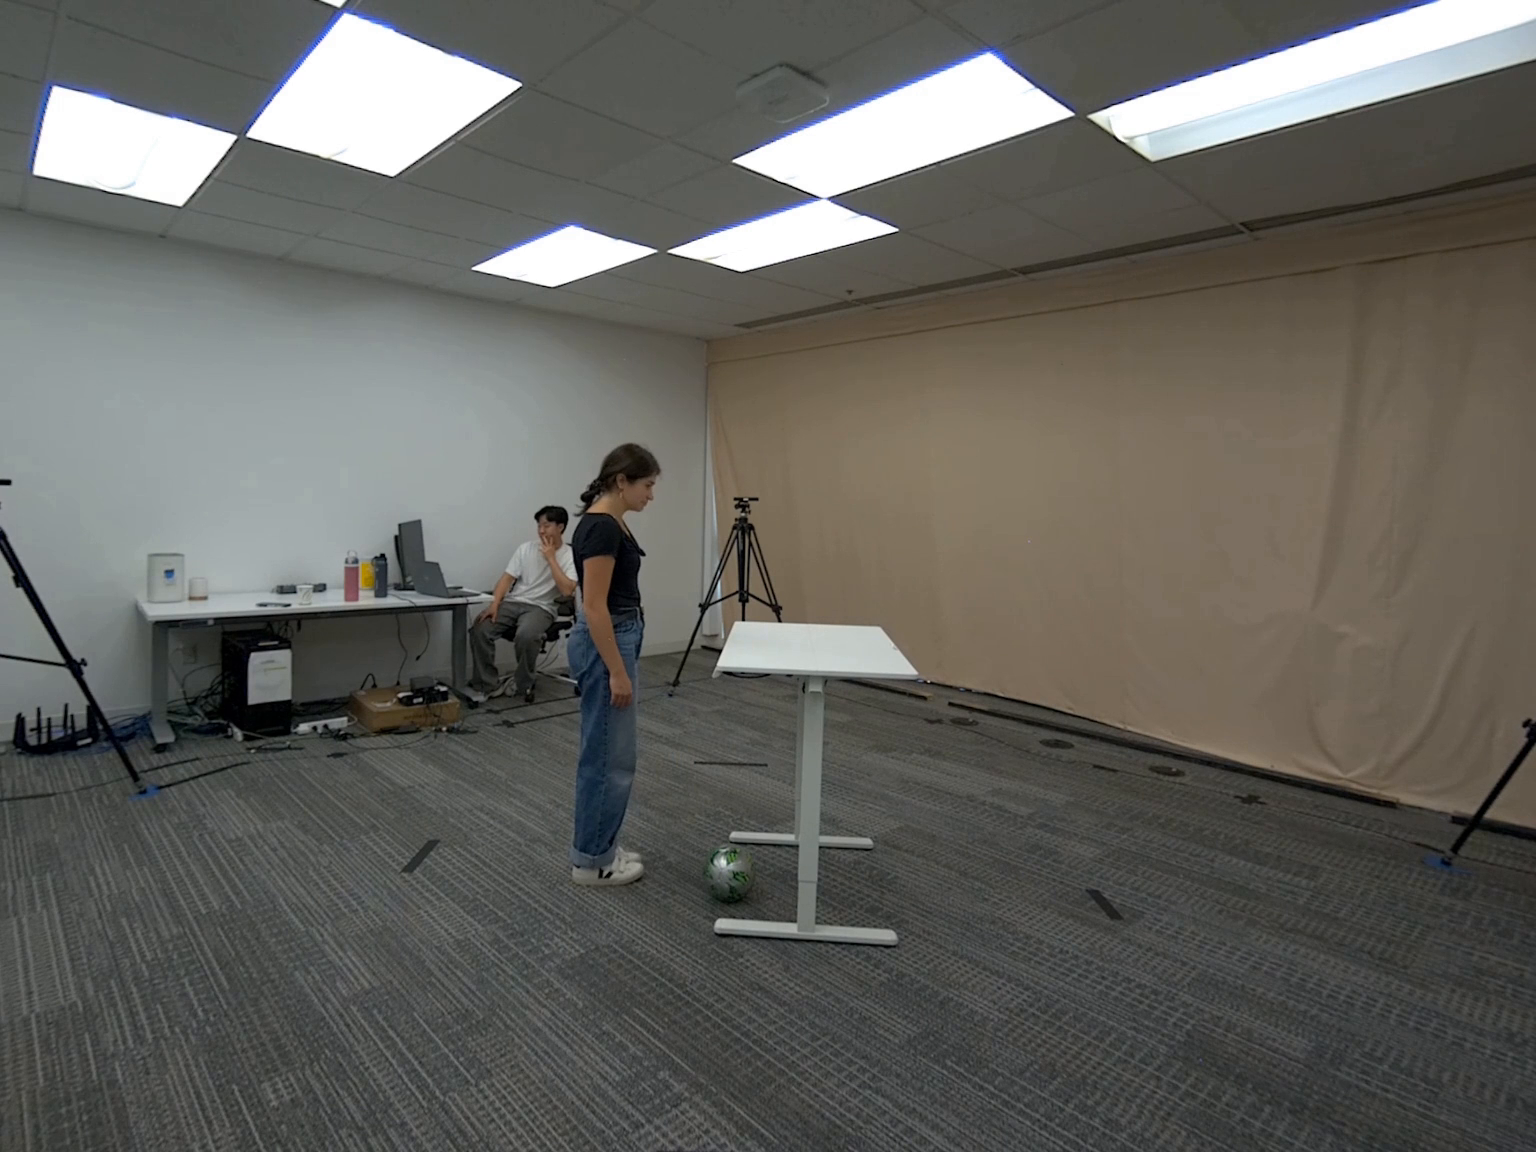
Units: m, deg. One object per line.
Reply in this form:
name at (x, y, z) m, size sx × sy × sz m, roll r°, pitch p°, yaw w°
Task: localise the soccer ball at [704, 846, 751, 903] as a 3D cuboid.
soccer ball at (-0.143, 1.039, 2.914) m, size 0.187 × 0.187 × 0.188 m, roll 1°, pitch 4°, yaw -1°
